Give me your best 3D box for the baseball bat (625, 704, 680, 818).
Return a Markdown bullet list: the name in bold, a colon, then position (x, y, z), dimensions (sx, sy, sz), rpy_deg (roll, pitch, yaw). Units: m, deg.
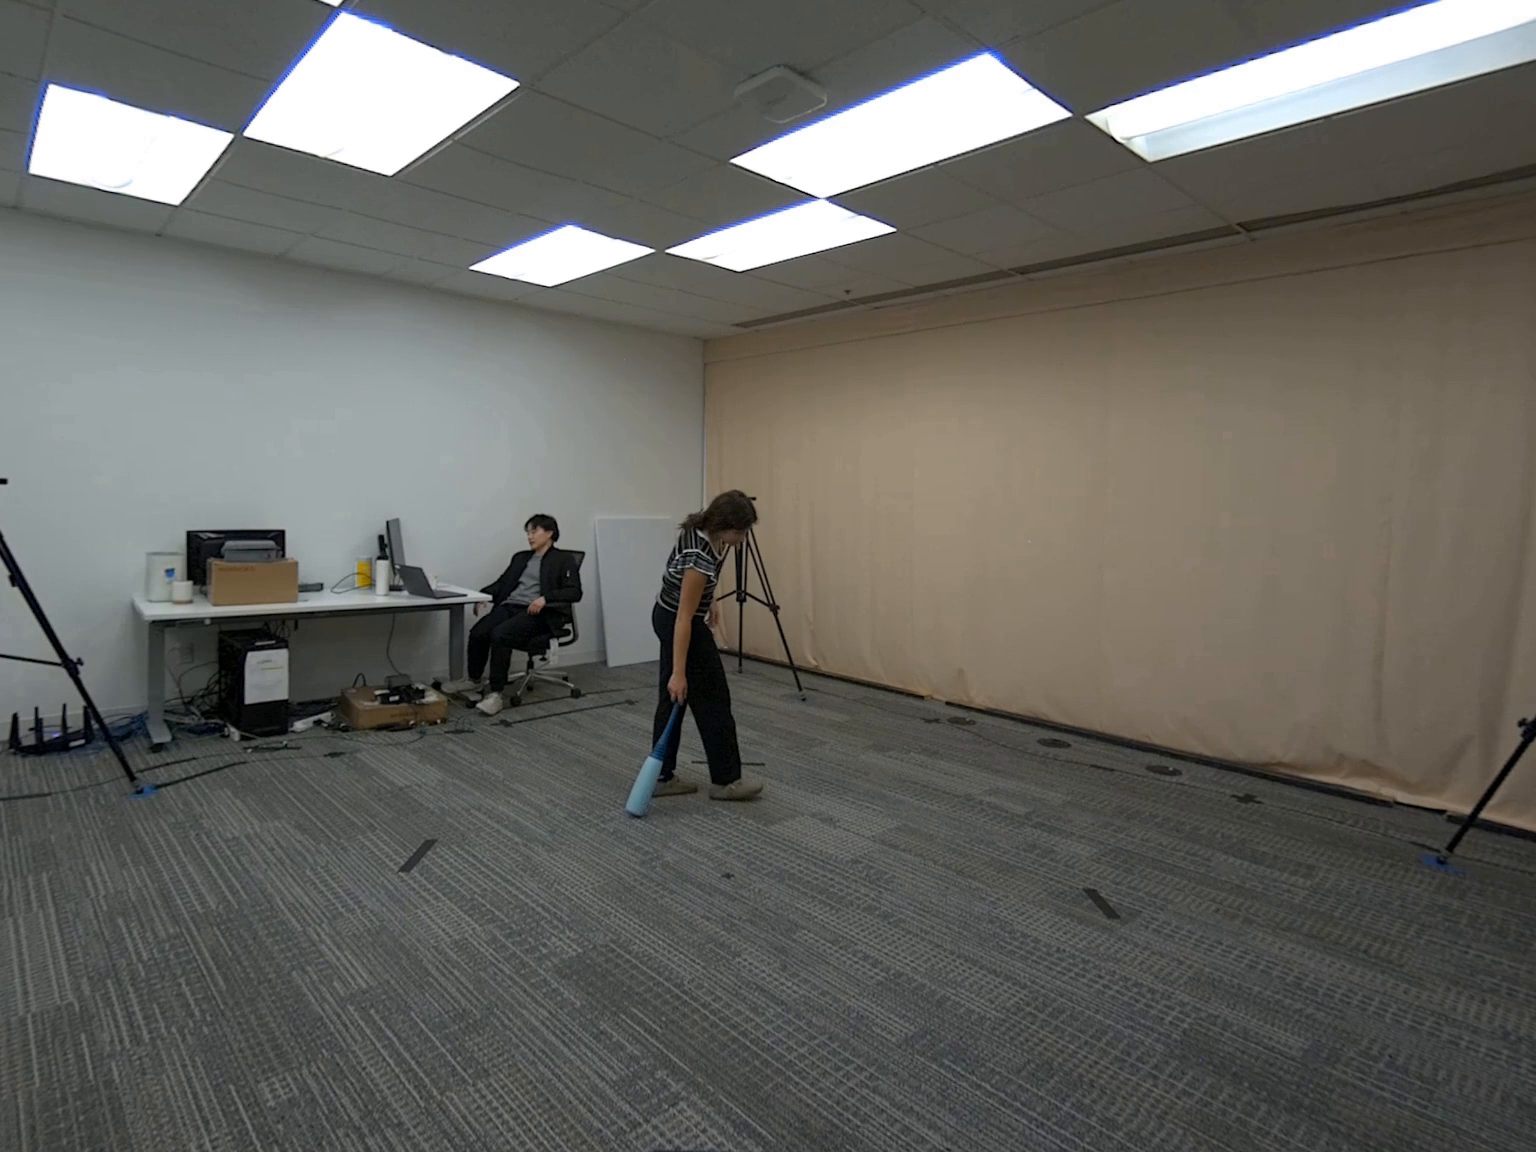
- **baseball bat**: position (-0.506, 0.795, 3.724), dimensions (0.089, 0.546, 0.088), rpy_deg (20, -14, 3)
